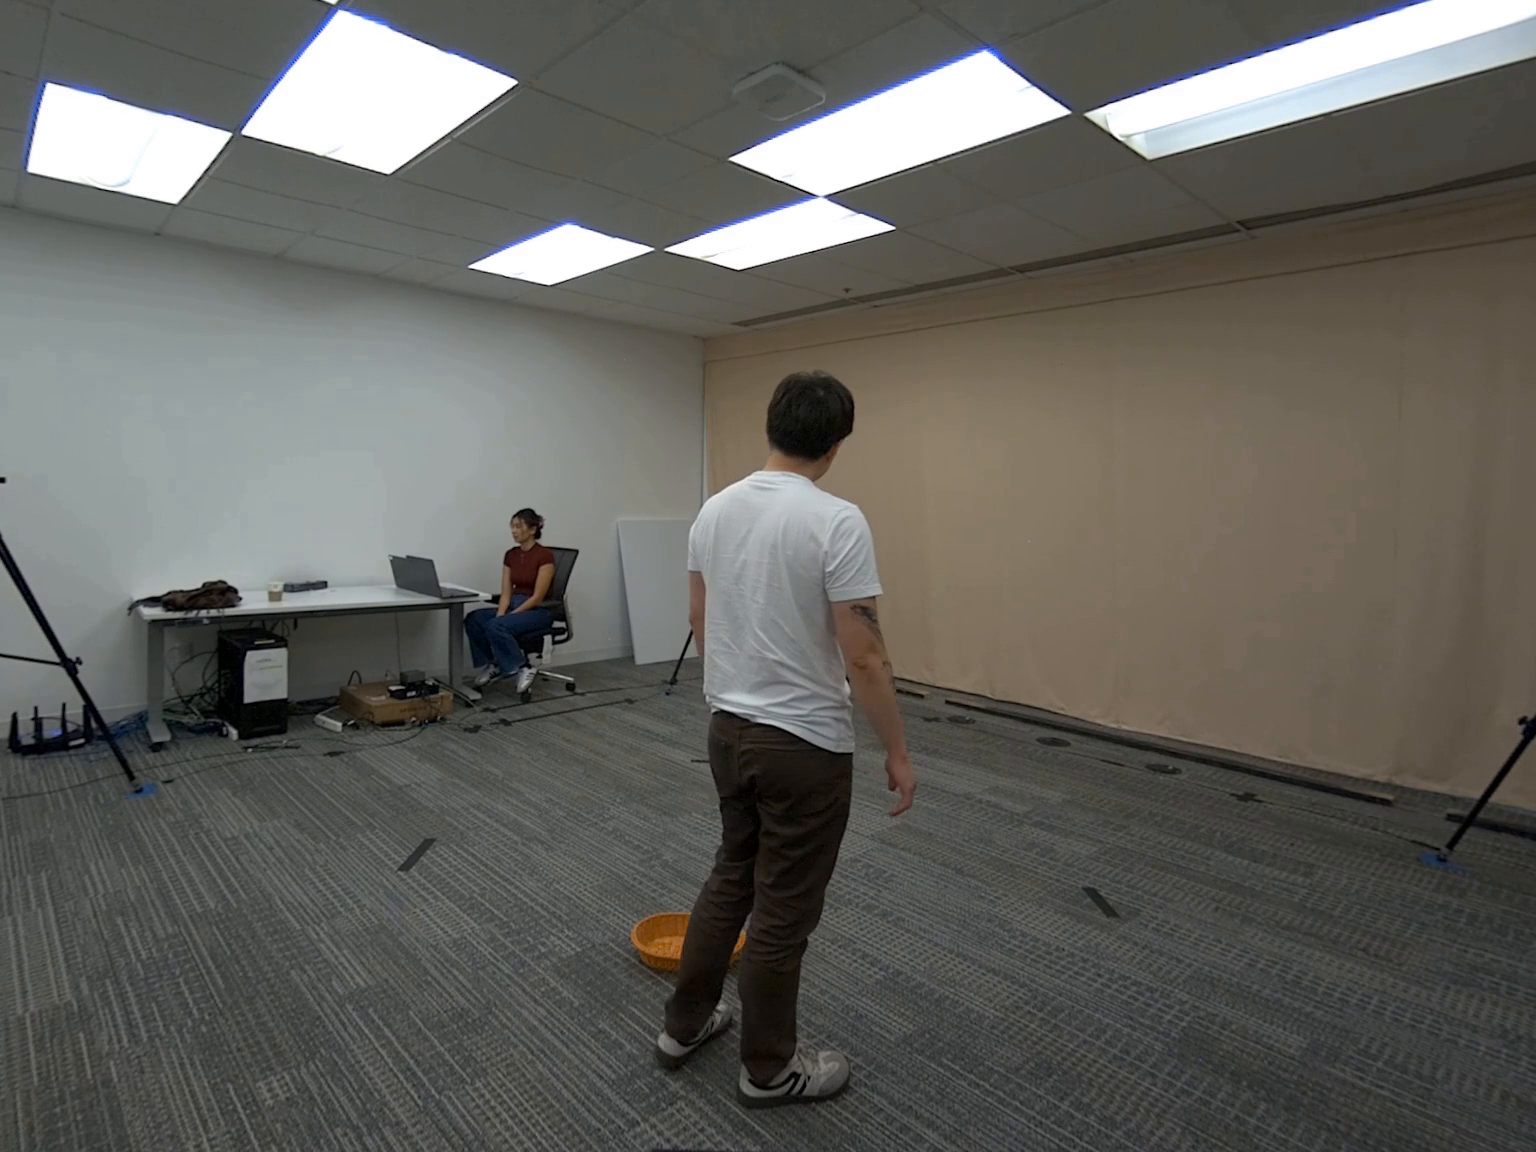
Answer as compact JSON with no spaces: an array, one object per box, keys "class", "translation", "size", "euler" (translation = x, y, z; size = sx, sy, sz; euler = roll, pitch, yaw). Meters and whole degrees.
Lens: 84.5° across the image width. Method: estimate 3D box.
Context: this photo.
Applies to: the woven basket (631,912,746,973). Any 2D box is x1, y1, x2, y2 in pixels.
[{"class":"woven basket","translation":[-0.245,1.114,2.536],"size":[0.352,0.073,0.252],"euler":[2,6,6]}]
